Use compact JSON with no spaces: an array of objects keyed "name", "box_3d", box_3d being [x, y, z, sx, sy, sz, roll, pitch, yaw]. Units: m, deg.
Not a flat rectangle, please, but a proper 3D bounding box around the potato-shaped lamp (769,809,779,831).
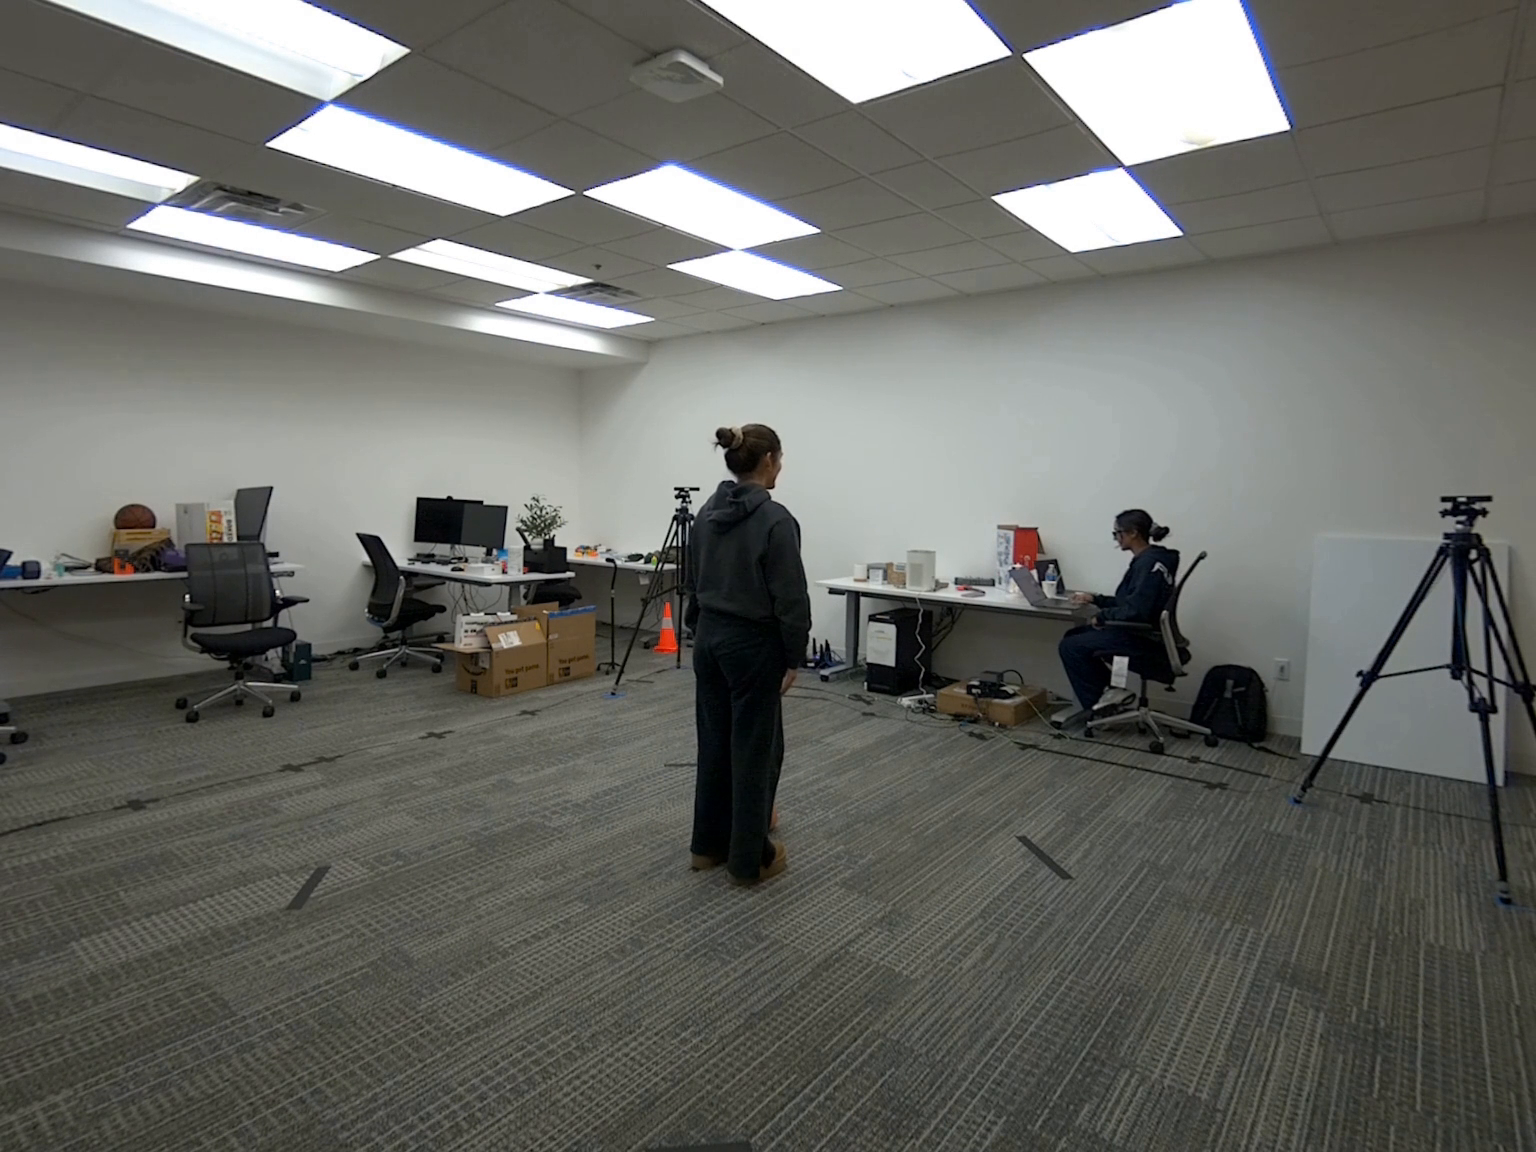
[{"name":"potato-shaped lamp","box_3d":[-0.037,0.927,3.472,0.170,0.197,0.167,5,5,30]}]
